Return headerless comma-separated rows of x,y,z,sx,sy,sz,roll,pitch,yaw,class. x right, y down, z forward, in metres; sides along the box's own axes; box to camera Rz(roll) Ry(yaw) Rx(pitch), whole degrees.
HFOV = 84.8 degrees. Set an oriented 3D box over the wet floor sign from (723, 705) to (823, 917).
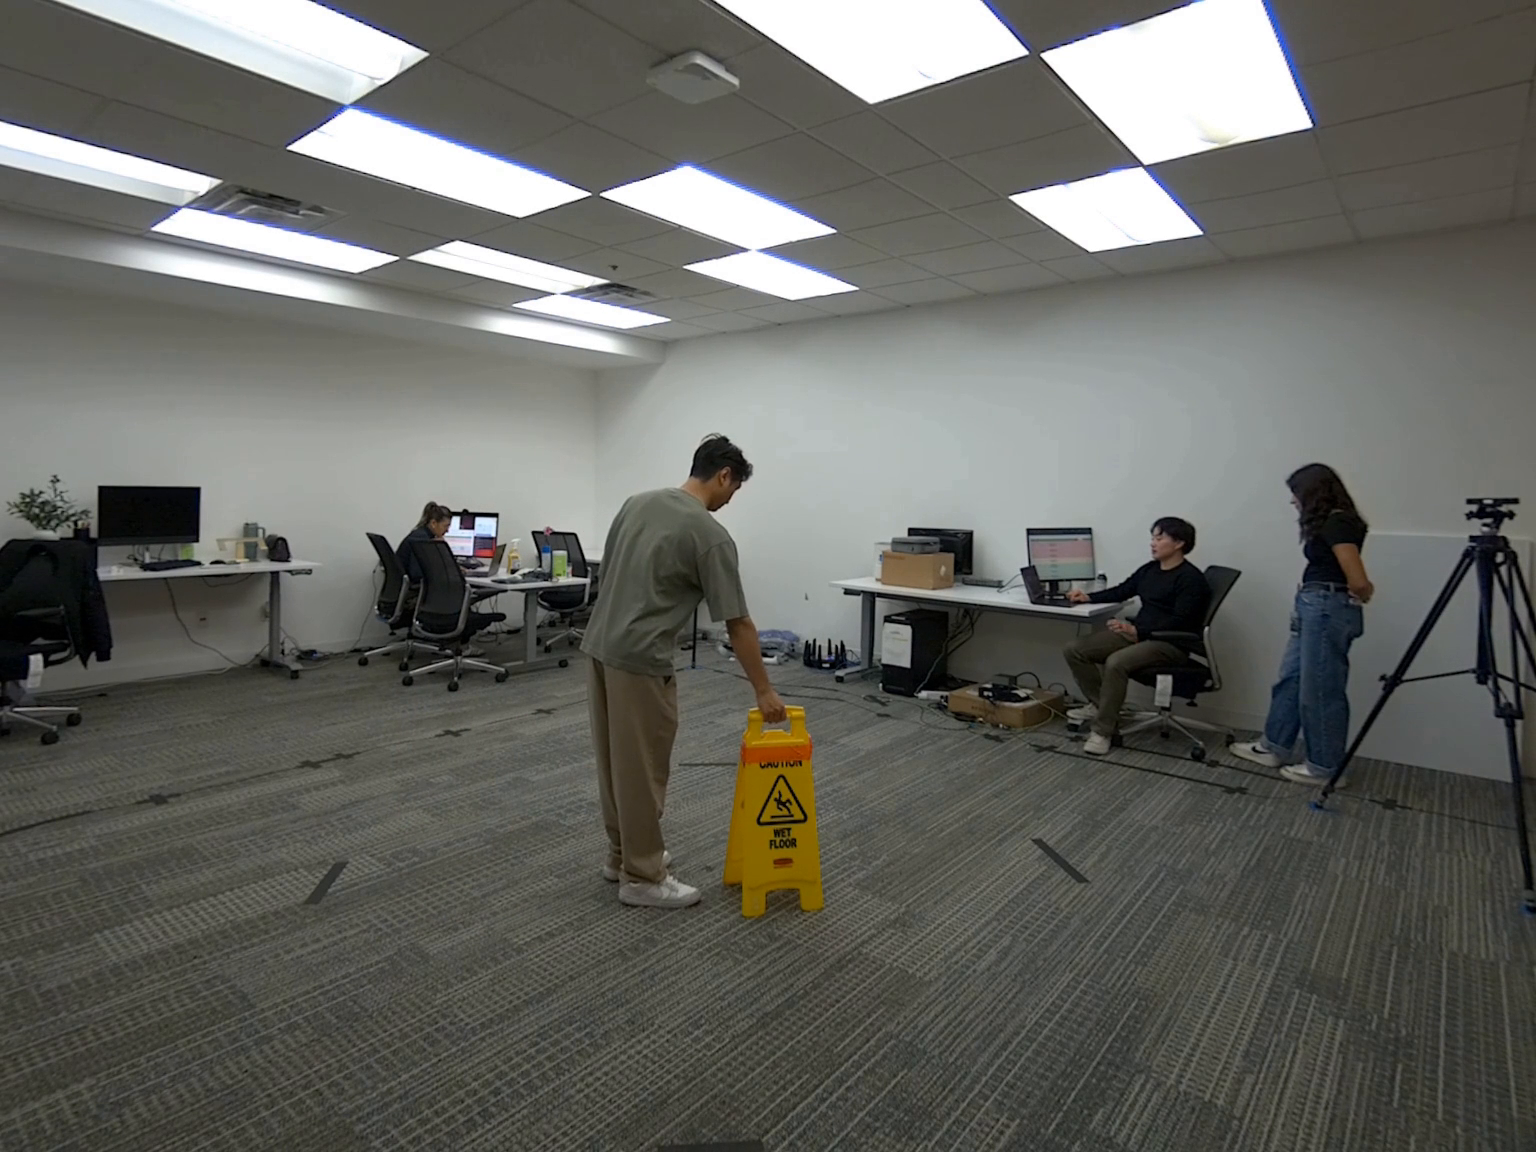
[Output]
0.012,0.763,2.888,0.278,0.644,0.295,0,4,-16,wet floor sign
